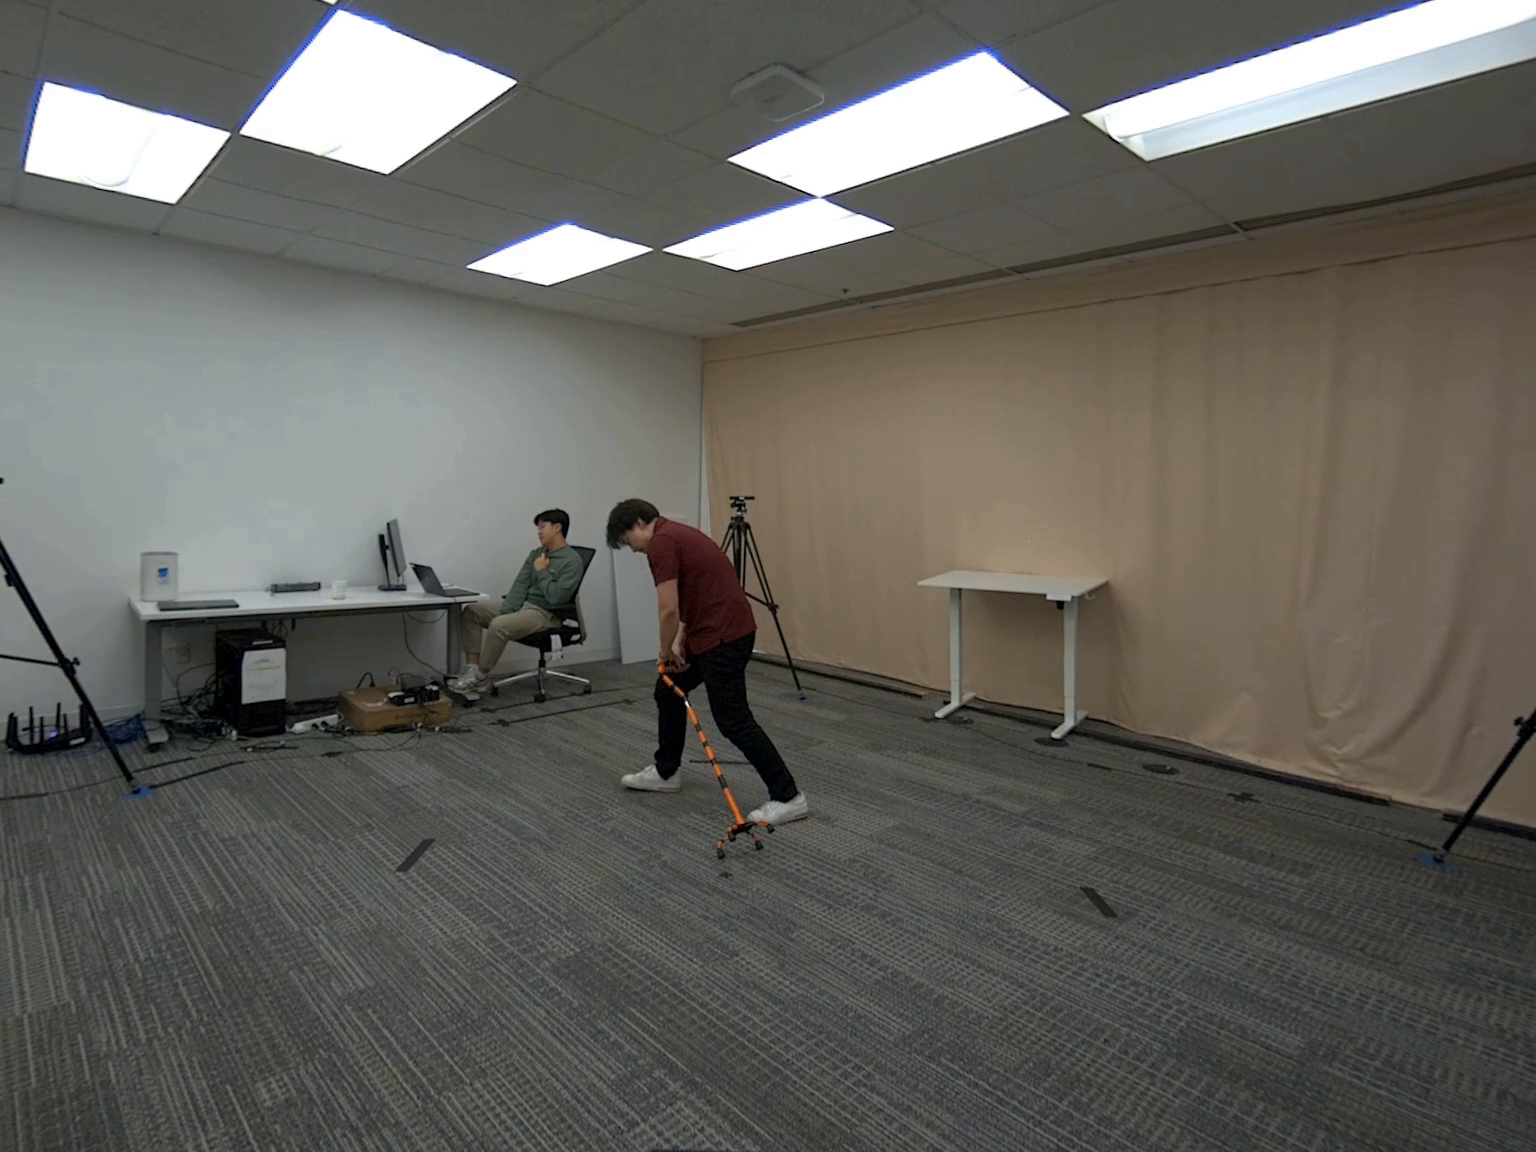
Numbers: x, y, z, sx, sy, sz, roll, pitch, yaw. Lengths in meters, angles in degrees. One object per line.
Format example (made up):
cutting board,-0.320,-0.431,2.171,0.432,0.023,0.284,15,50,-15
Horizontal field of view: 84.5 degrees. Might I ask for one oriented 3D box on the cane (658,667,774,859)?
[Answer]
cane,-0.286,0.723,3.524,0.202,0.150,0.936,-1,41,-34
